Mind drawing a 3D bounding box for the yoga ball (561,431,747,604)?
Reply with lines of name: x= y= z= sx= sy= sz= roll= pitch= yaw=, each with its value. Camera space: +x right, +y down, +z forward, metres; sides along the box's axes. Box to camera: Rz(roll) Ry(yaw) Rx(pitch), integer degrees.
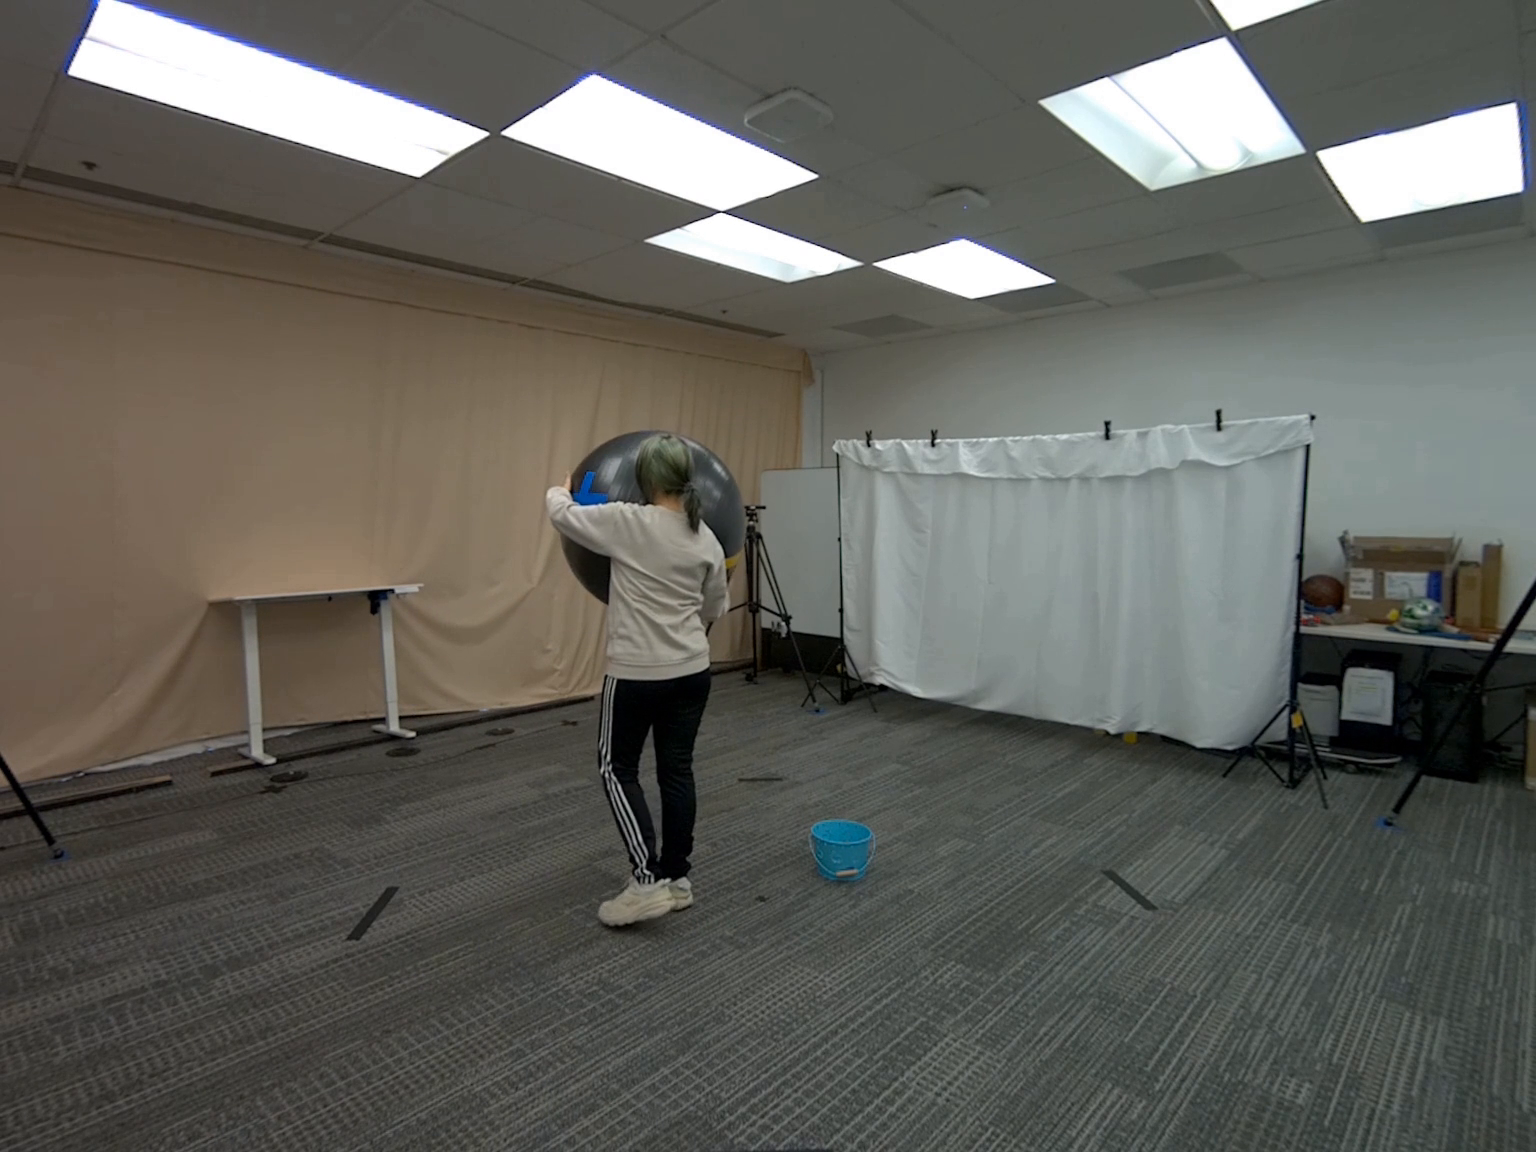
yoga ball: x=-0.472 y=-0.208 z=3.440 sx=0.757 sy=0.756 sz=0.761 roll=0 pitch=4 yaw=-2
